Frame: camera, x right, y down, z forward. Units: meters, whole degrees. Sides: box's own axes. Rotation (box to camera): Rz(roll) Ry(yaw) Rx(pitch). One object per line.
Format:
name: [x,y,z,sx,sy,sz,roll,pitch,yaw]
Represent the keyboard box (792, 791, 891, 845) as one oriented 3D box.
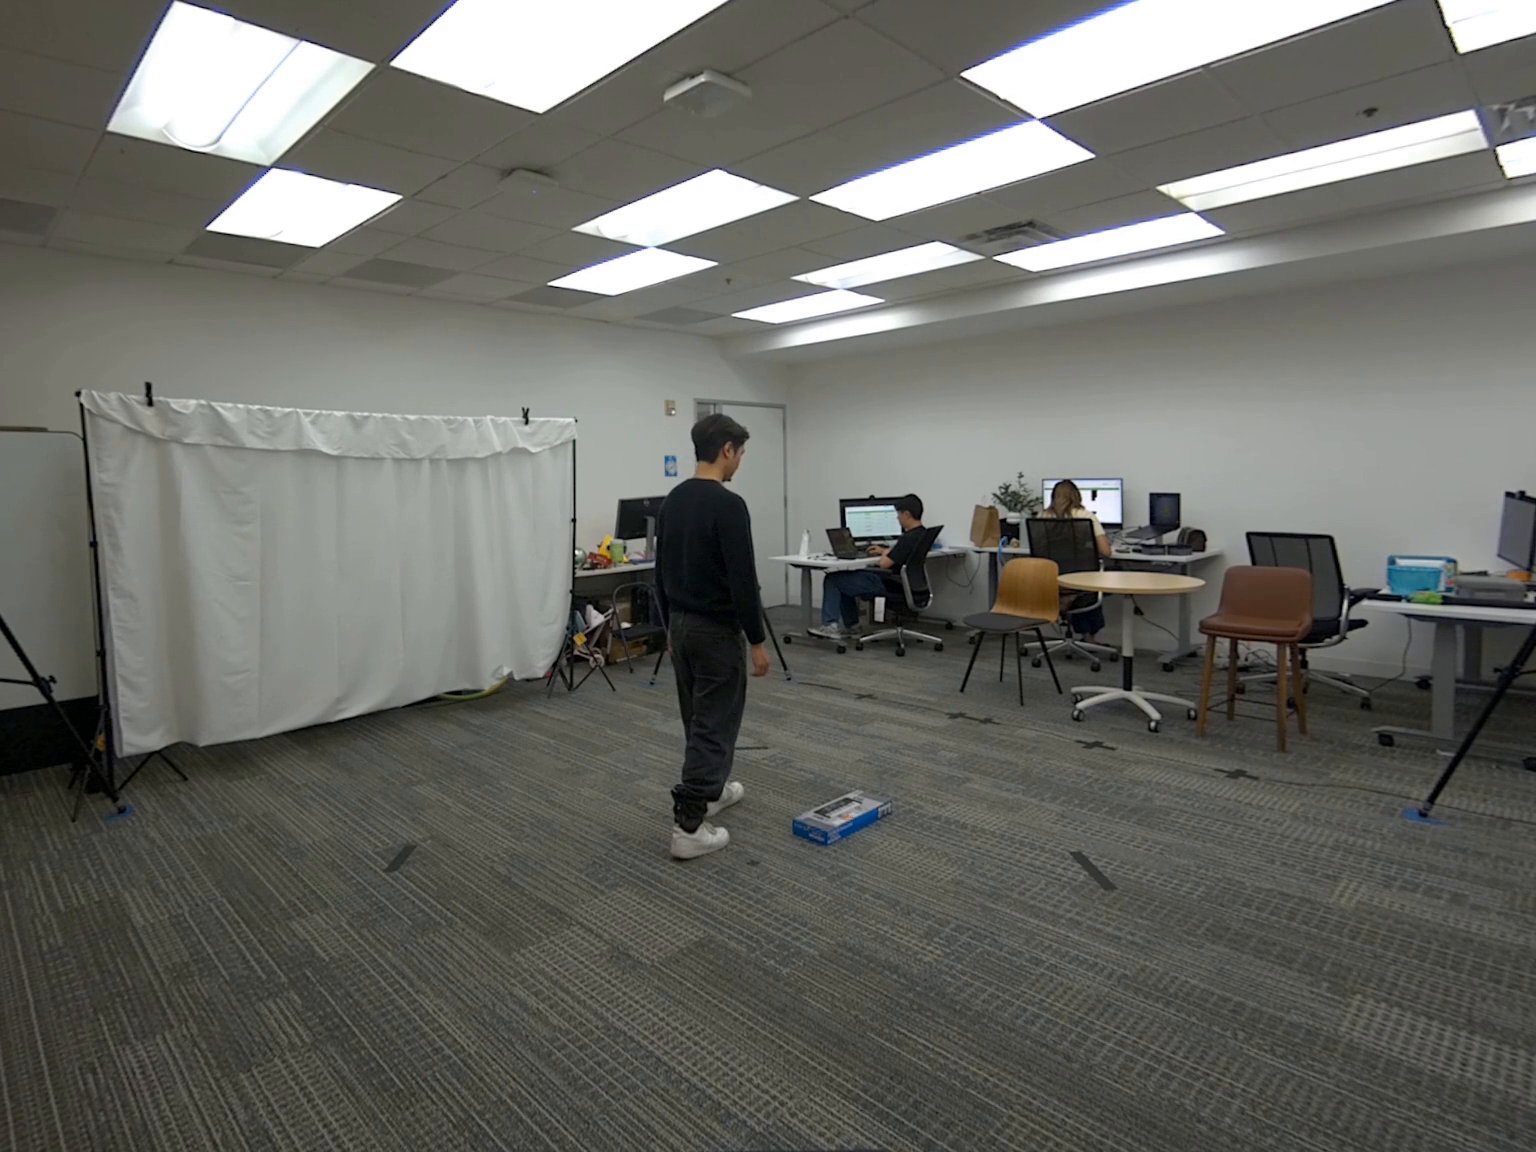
keyboard box: [0.307,0.967,3.443,0.181,0.059,0.425,6,9,43]
